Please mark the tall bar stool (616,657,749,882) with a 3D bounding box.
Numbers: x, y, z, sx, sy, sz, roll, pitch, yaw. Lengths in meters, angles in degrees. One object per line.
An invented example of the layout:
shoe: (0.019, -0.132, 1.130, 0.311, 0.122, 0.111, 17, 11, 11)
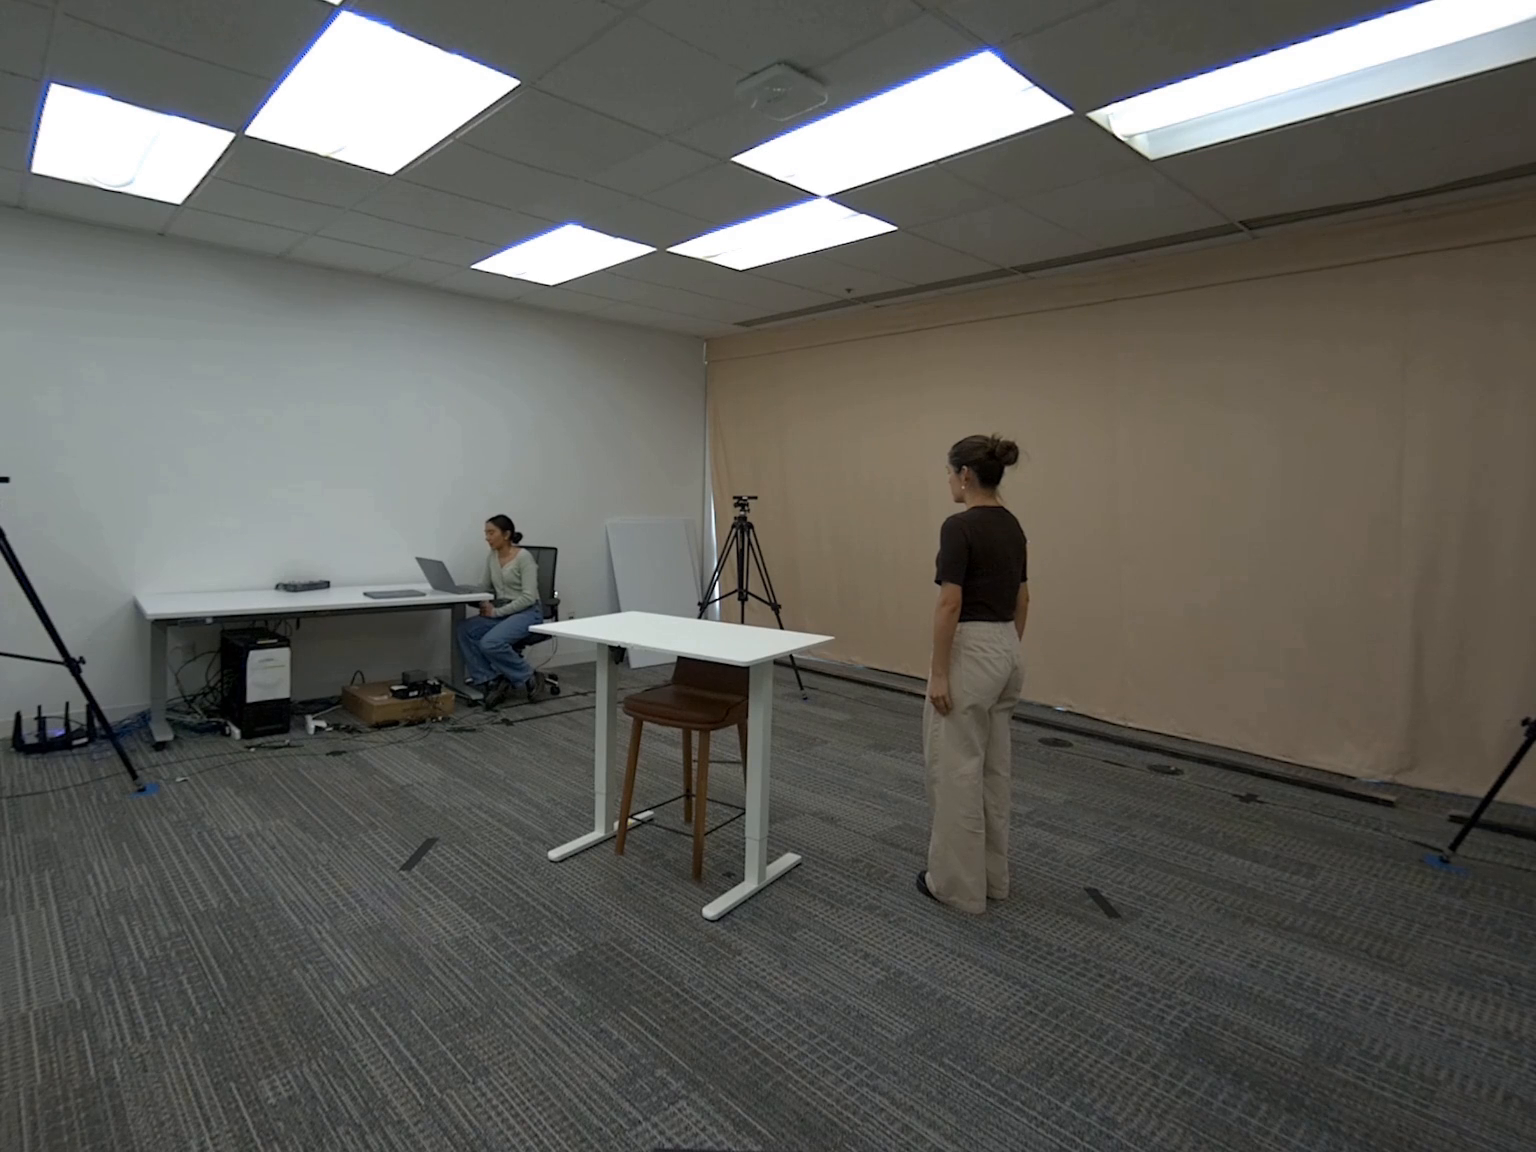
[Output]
tall bar stool: (-0.294, 0.648, 3.314, 0.467, 0.888, 0.457, 4, 3, 34)
